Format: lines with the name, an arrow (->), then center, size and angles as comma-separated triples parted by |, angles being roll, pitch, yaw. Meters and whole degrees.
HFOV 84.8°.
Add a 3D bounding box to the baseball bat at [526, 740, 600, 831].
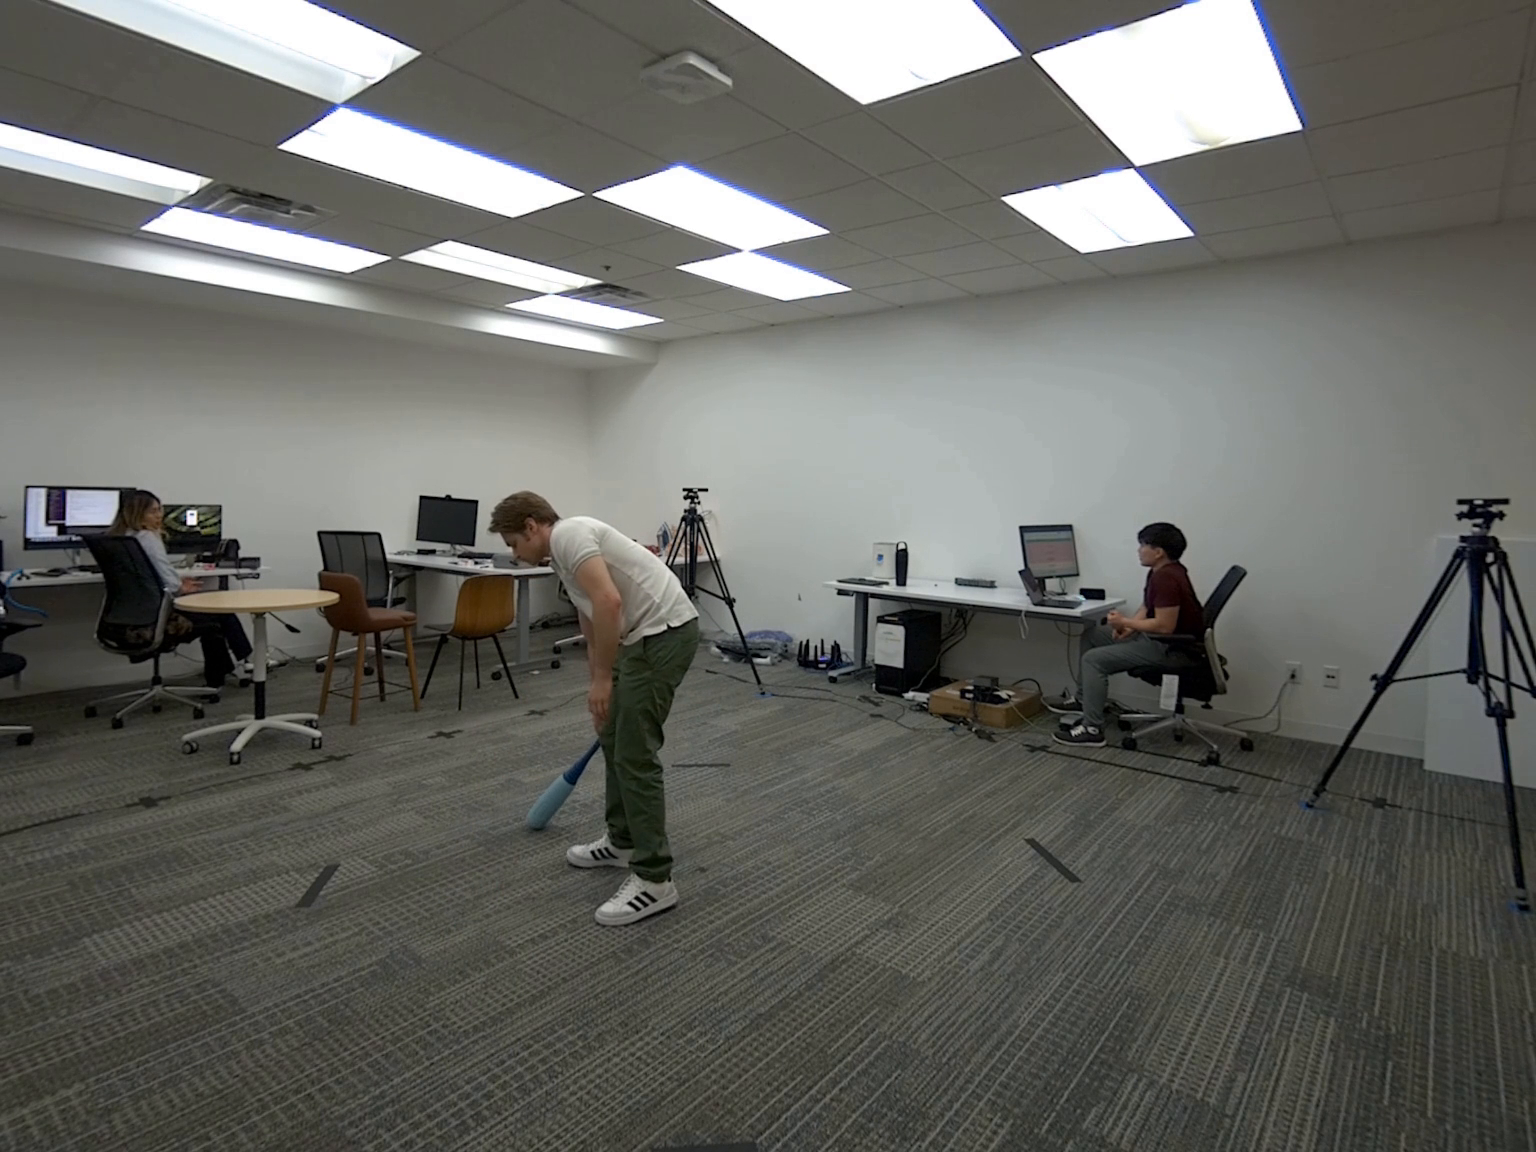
baseball bat -> -0.806, 0.805, 3.411 | 0.088, 0.543, 0.090 | 39, 10, -10
